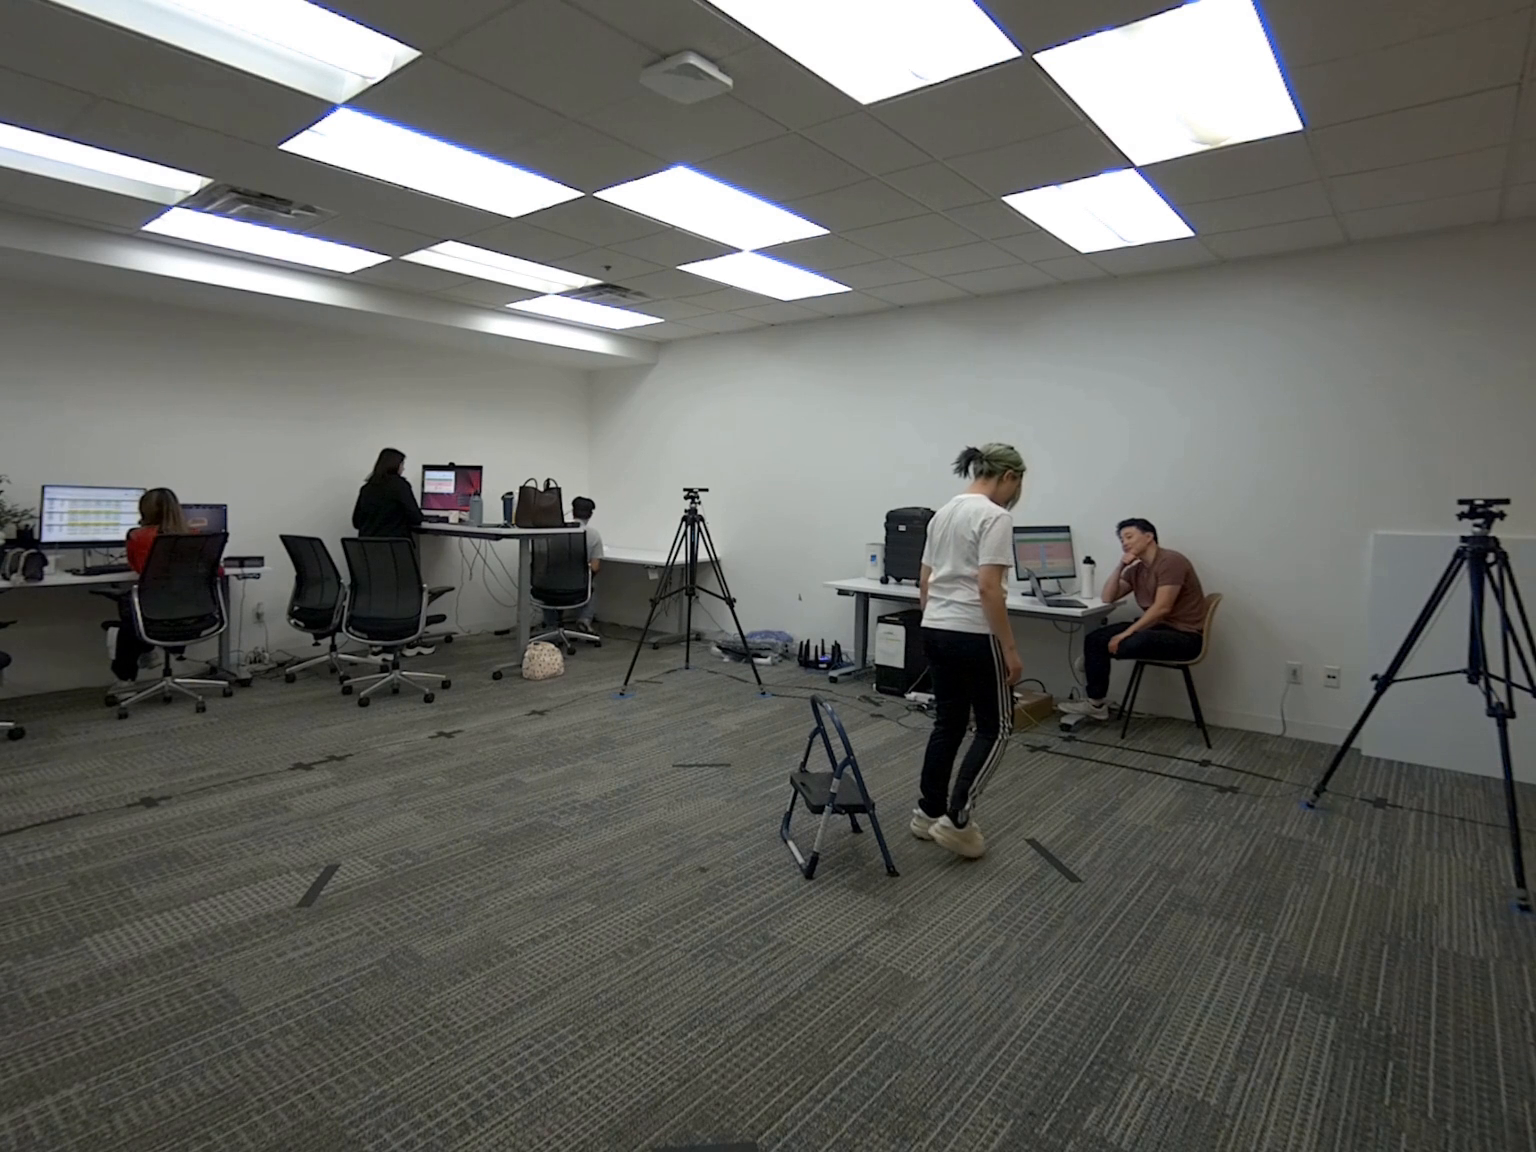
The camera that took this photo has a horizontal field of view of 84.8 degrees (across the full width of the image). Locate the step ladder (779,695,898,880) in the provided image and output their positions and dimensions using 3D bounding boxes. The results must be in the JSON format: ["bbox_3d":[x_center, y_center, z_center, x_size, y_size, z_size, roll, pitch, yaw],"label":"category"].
[{"bbox_3d":[0.259,0.769,3.252,0.345,0.604,0.437,0,4,-12],"label":"step ladder"}]
